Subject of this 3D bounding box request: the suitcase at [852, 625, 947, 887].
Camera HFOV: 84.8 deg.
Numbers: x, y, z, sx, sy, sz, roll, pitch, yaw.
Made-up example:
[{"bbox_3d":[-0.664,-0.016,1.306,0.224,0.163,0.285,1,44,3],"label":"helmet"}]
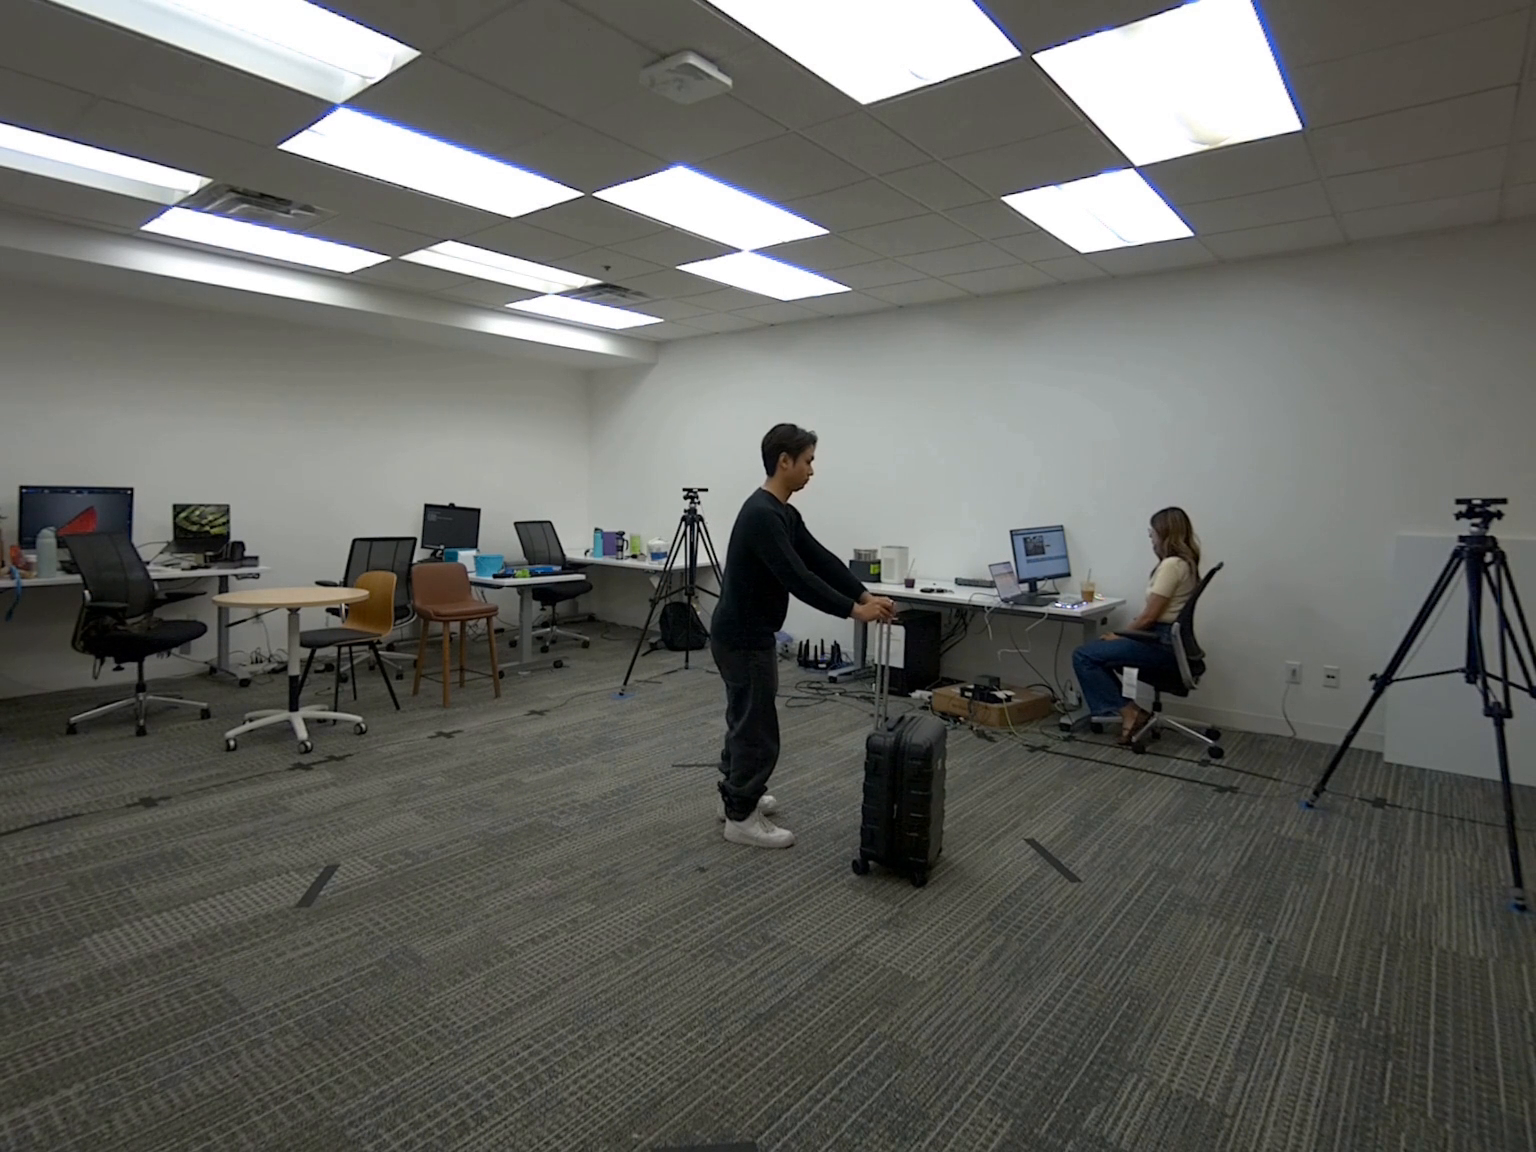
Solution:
[{"bbox_3d":[0.518,0.605,3.148,0.263,0.974,0.377,4,6,21],"label":"suitcase"}]
